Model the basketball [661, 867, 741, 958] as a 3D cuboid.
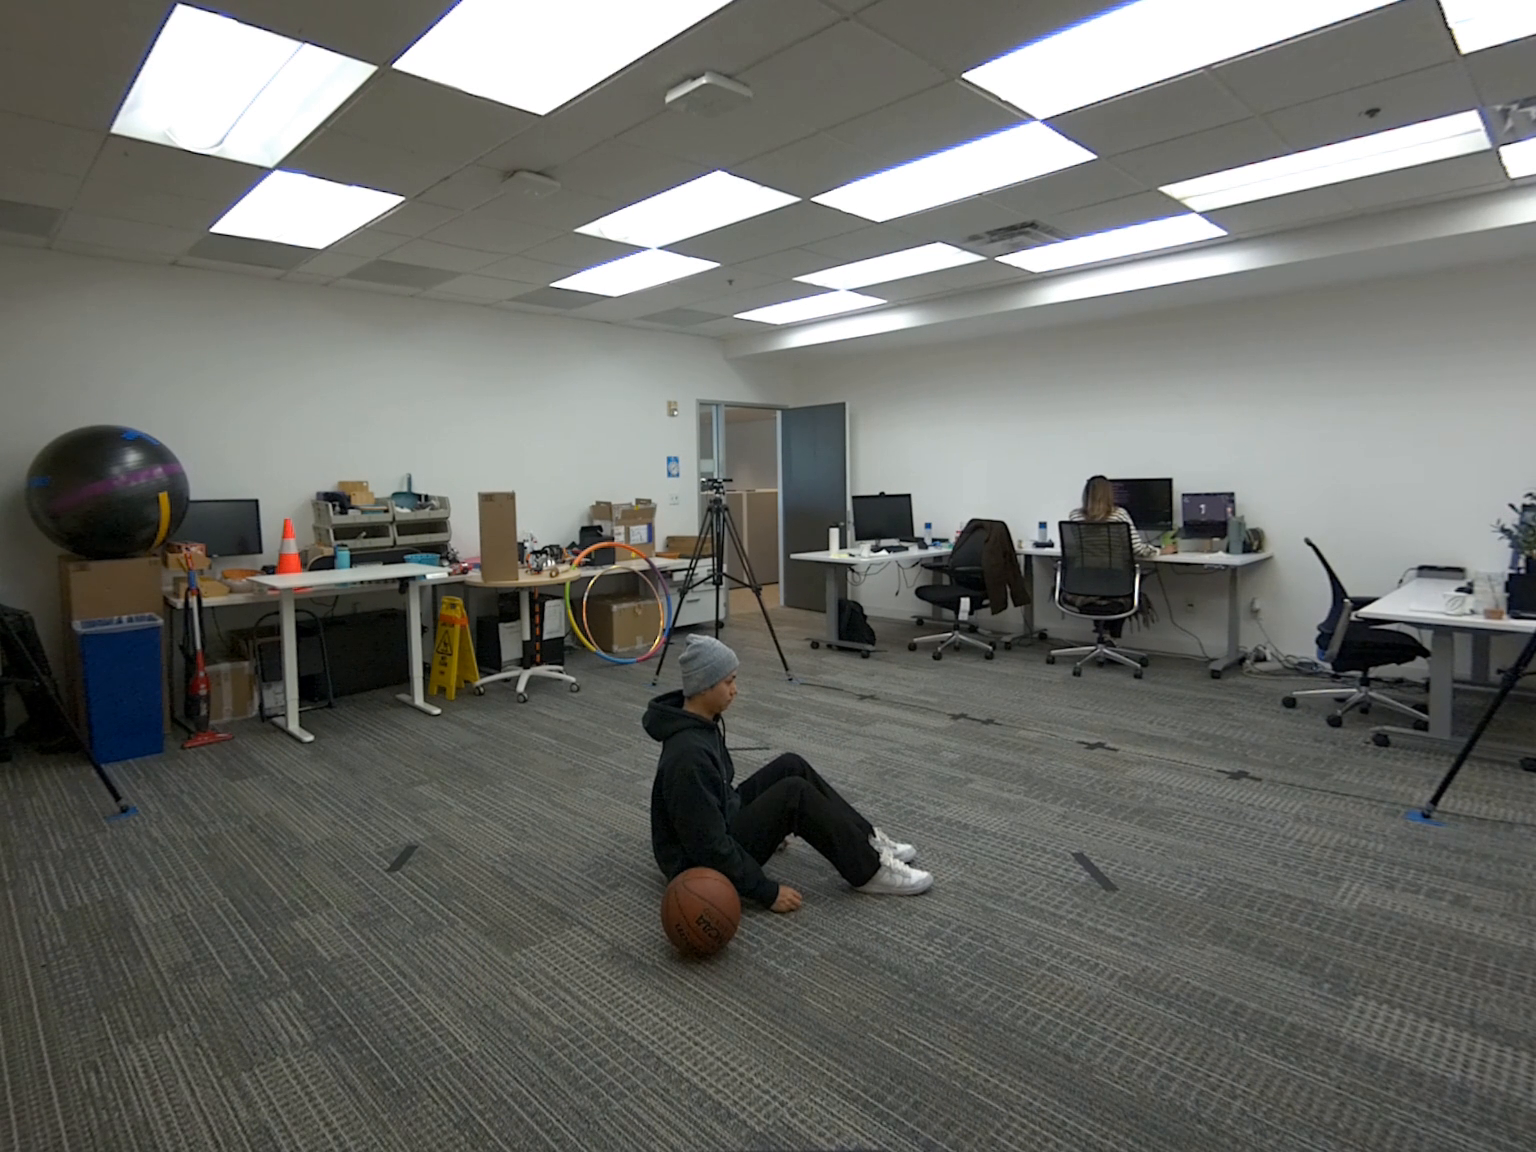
[{"bbox_3d":[-0.200,0.995,2.540,0.236,0.235,0.237,-1,5,-2],"label":"basketball"}]
